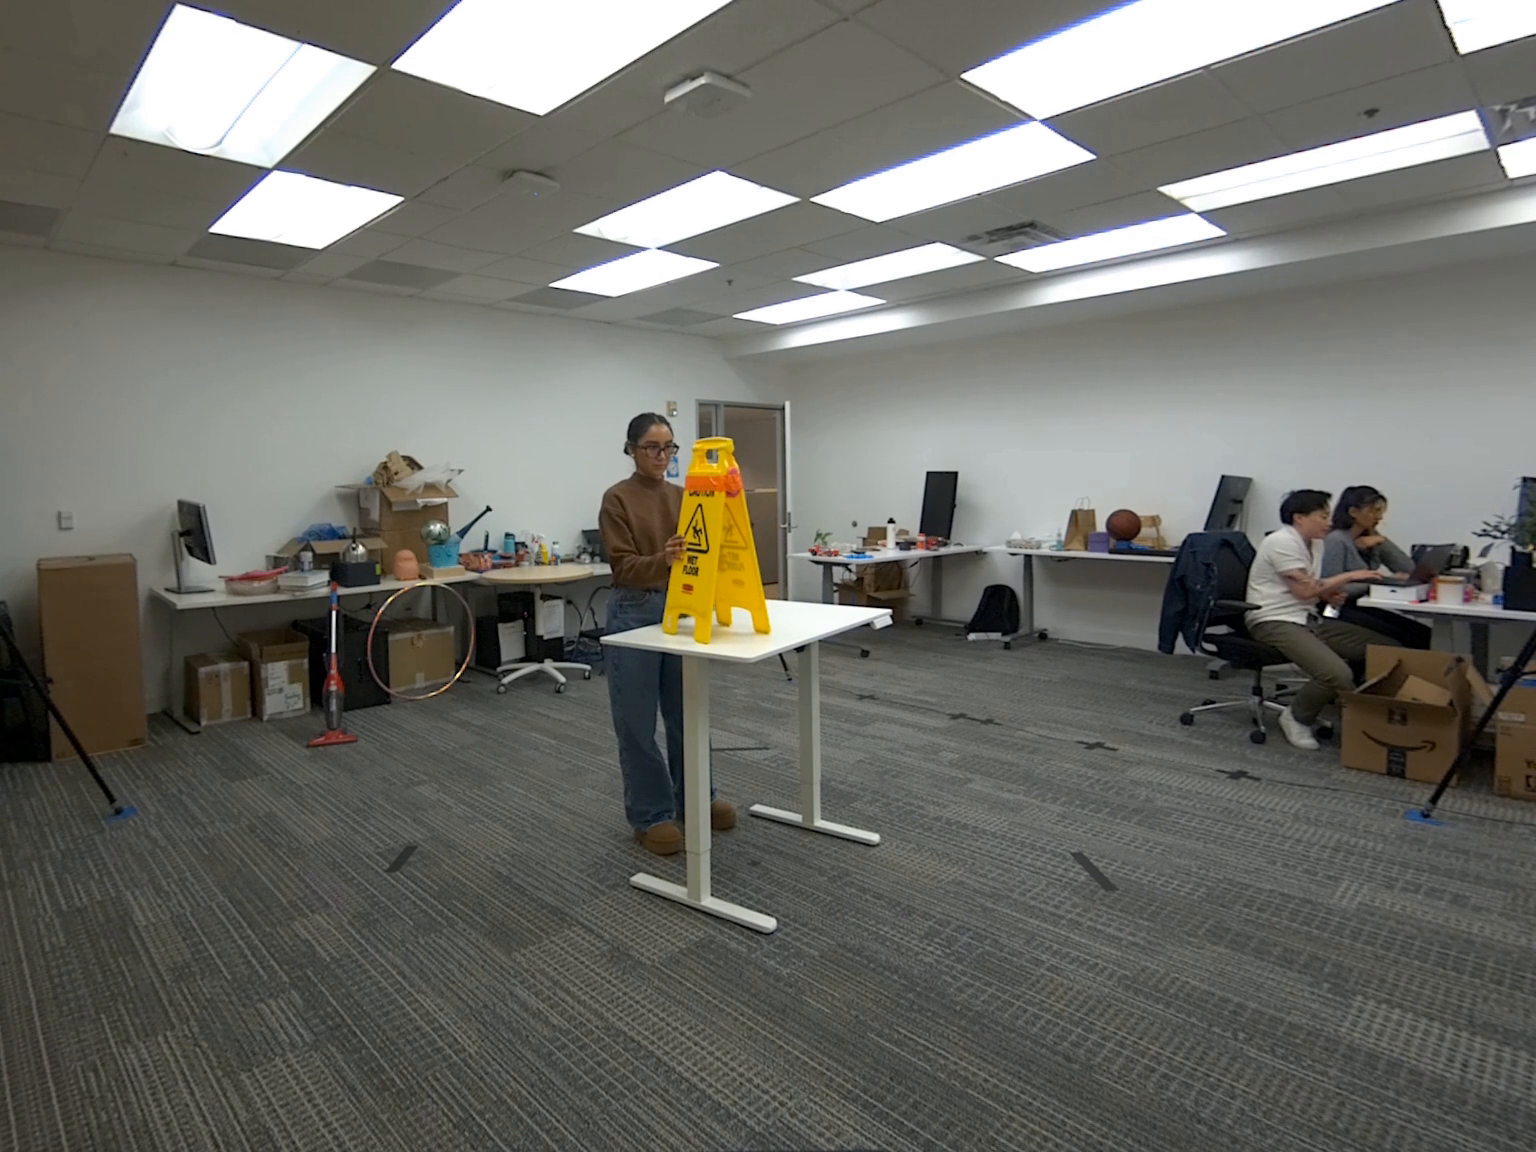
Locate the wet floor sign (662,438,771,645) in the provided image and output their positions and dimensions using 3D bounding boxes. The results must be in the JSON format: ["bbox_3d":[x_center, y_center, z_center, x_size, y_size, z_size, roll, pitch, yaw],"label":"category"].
[{"bbox_3d":[-0.176,-0.130,2.843,0.282,0.643,0.291,-3,5,-37],"label":"wet floor sign"}]
